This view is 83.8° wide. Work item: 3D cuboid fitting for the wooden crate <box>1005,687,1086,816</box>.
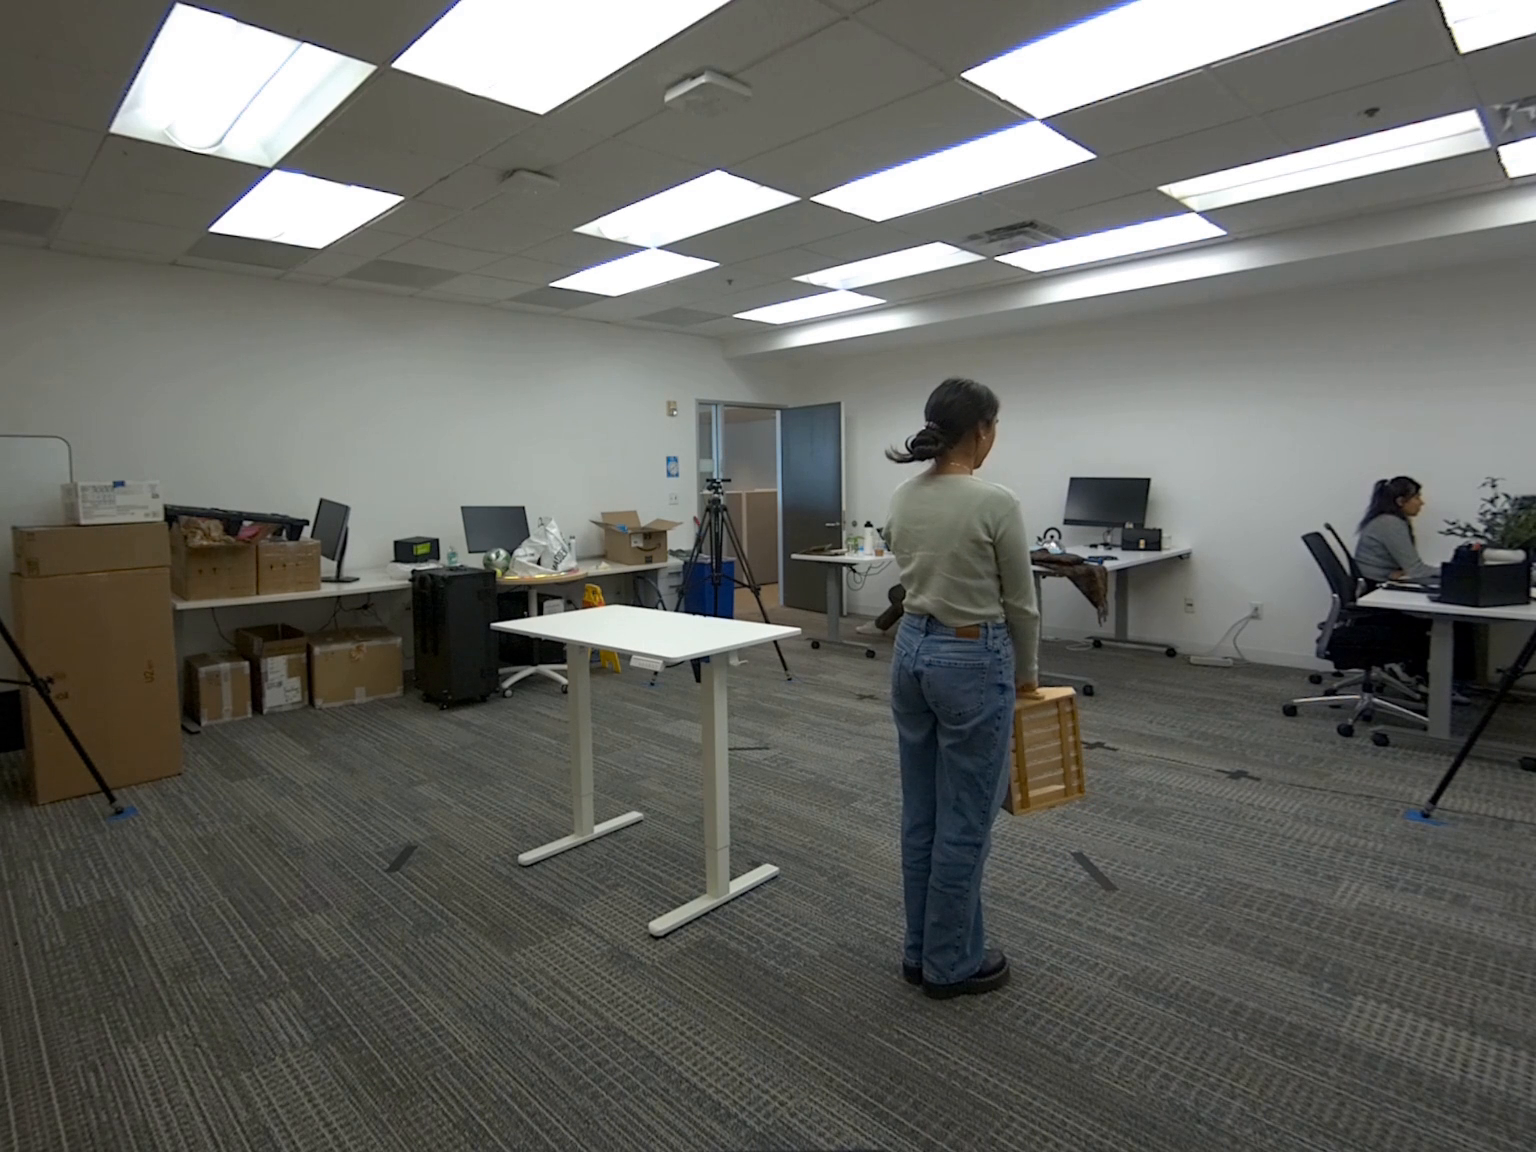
[{"bbox_3d":[0.709,0.473,2.469,0.298,0.322,0.279,-10,9,-16],"label":"wooden crate"}]
